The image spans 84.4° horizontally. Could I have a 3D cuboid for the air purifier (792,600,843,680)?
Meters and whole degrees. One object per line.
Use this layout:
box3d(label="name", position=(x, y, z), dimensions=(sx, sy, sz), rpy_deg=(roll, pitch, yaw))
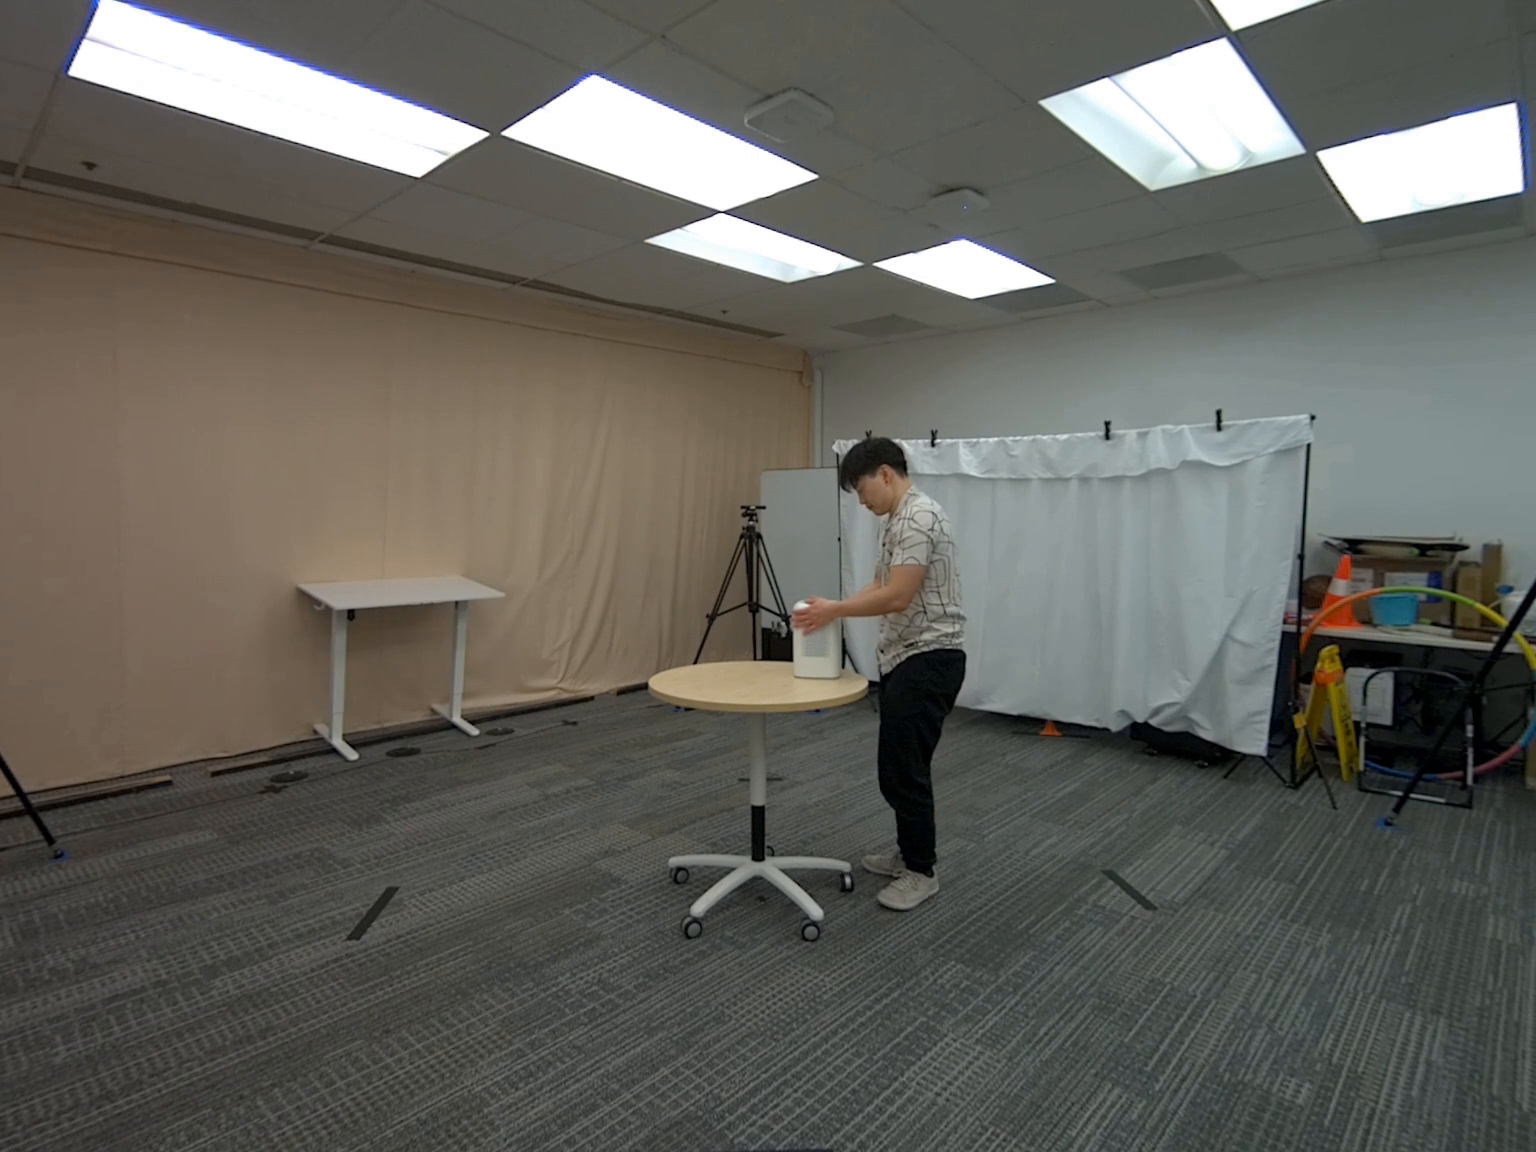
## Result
box3d(label="air purifier", position=(0.186, 0.225, 3.047), dimensions=(0.173, 0.265, 0.169), rpy_deg=(-1, 2, 8))
